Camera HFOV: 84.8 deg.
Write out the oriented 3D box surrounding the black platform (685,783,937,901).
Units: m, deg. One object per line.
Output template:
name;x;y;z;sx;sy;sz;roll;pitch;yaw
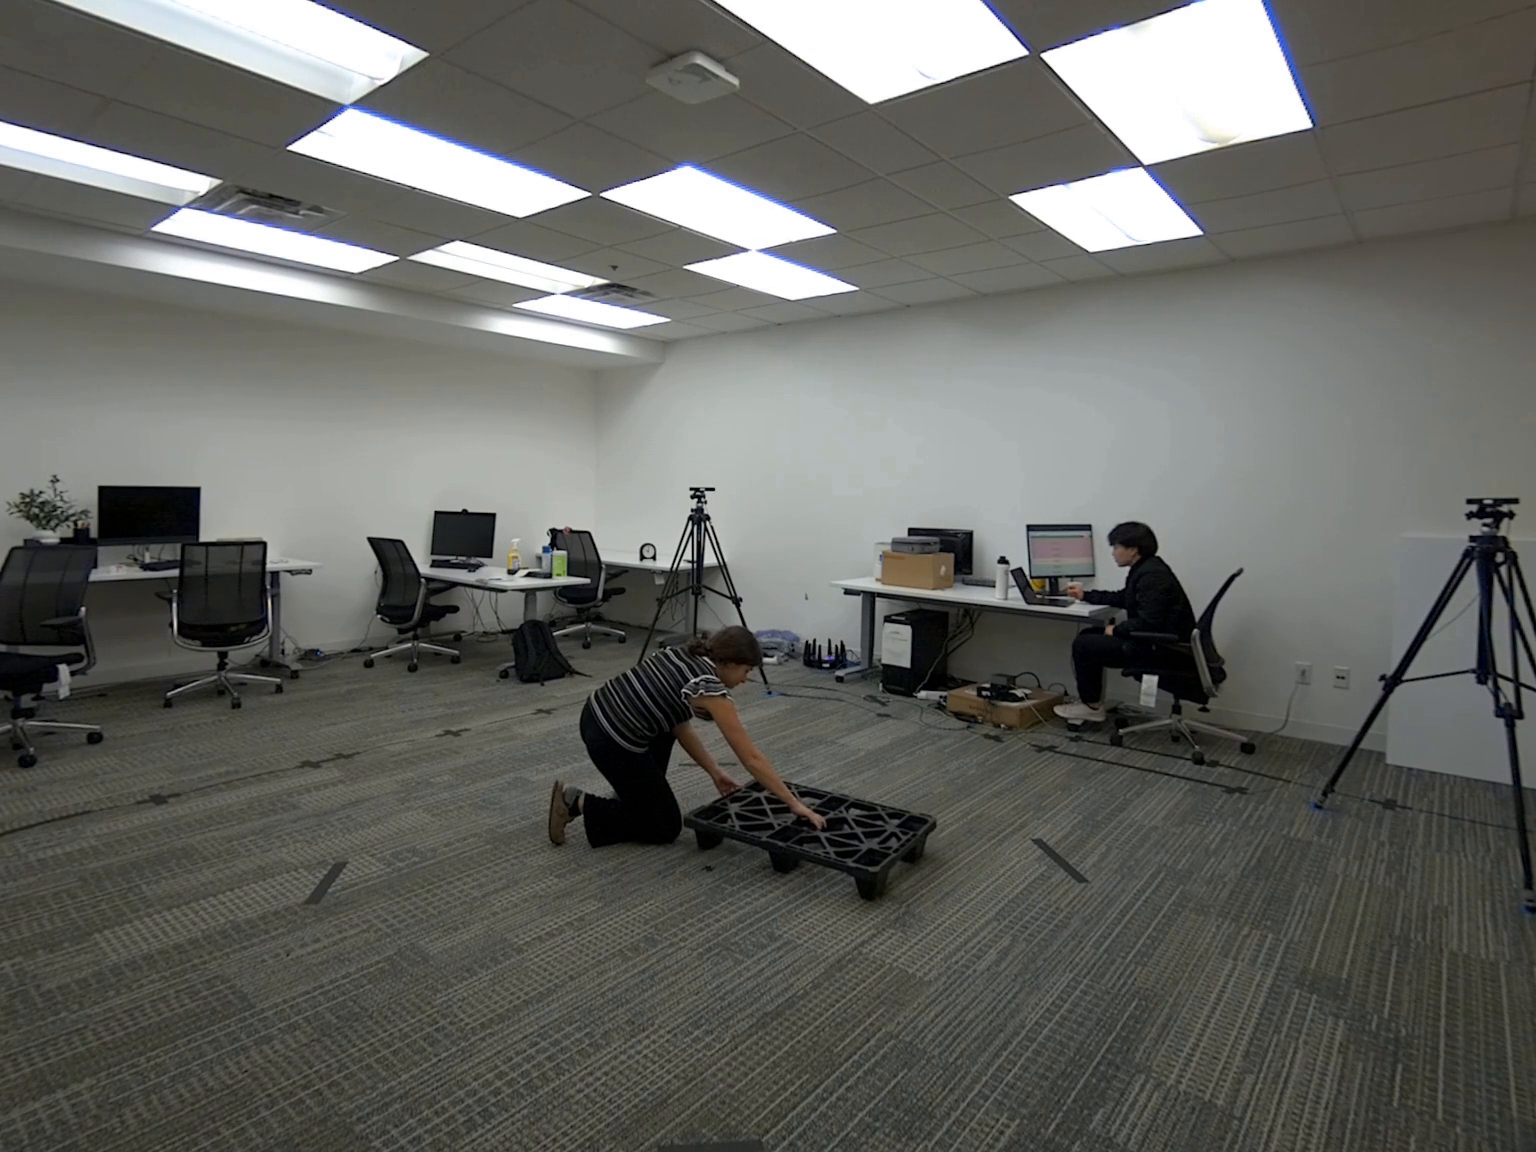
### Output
black platform;0.158;0.992;3.273;0.831;0.143;0.589;5;7;33
